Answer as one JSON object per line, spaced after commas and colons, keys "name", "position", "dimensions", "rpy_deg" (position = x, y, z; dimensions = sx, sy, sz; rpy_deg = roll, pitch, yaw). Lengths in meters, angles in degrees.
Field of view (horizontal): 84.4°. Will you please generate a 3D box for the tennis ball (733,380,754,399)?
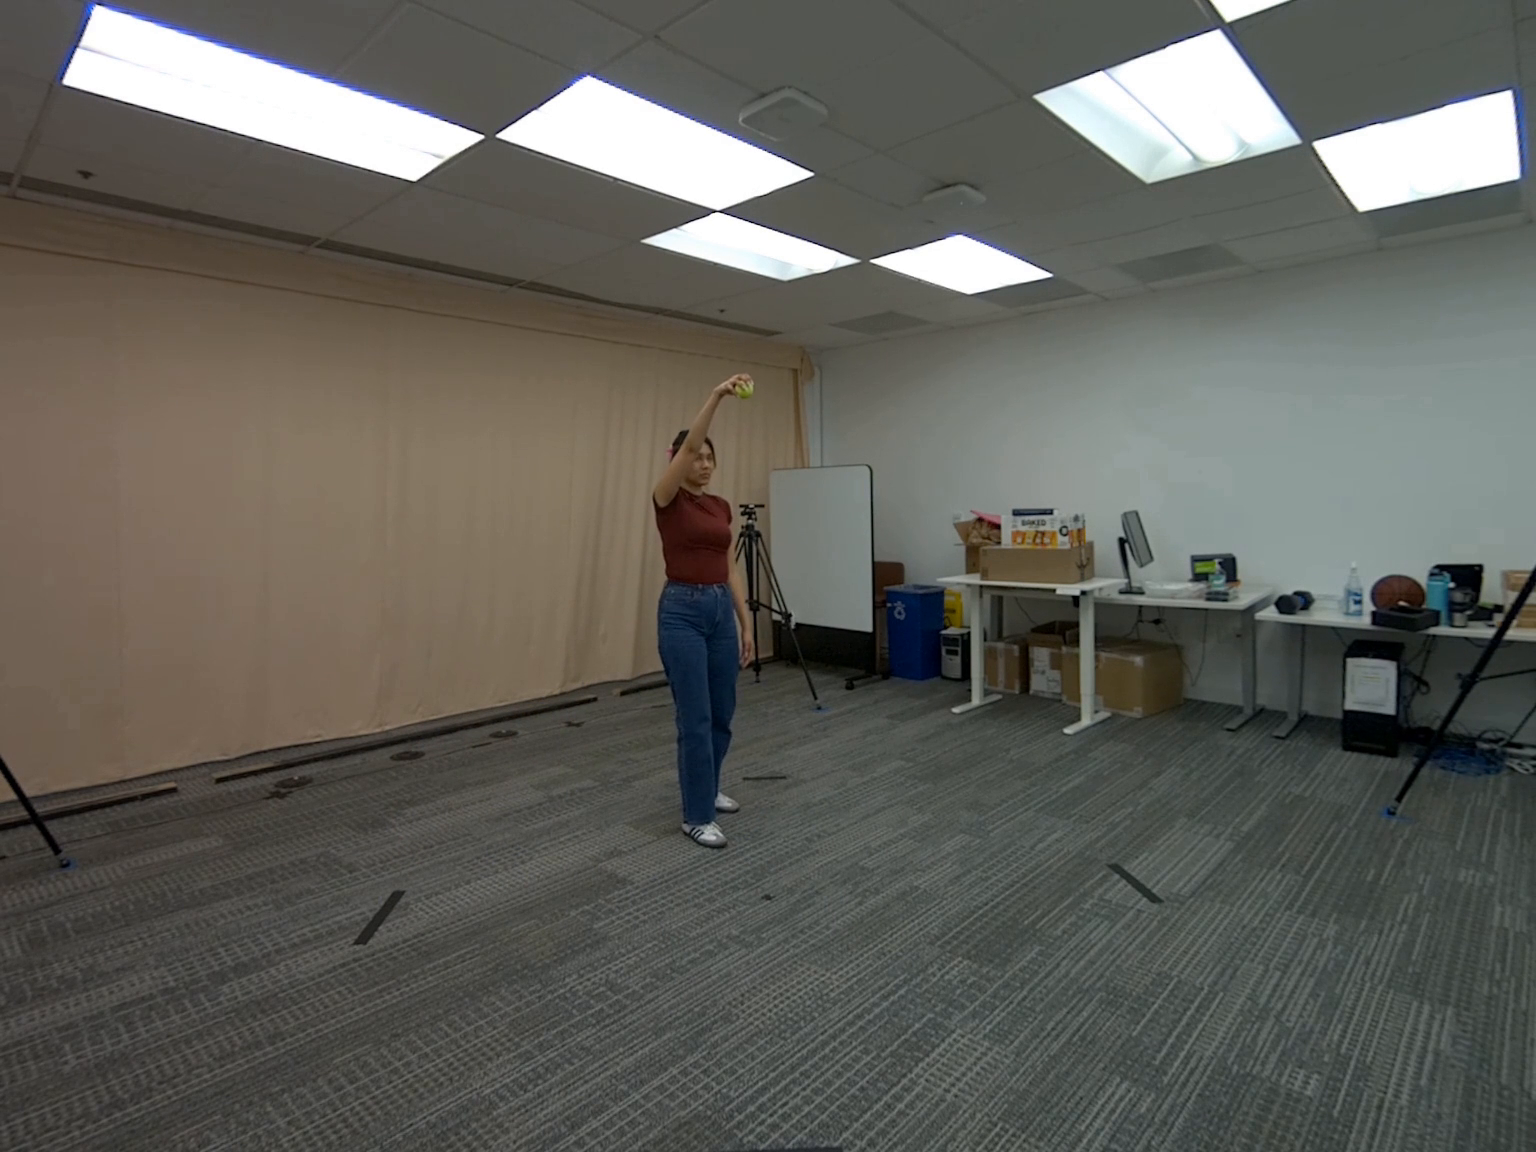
{"name": "tennis ball", "position": [-0.088, -0.690, 3.131], "dimensions": [0.066, 0.066, 0.067], "rpy_deg": [-1, 4, -2]}
